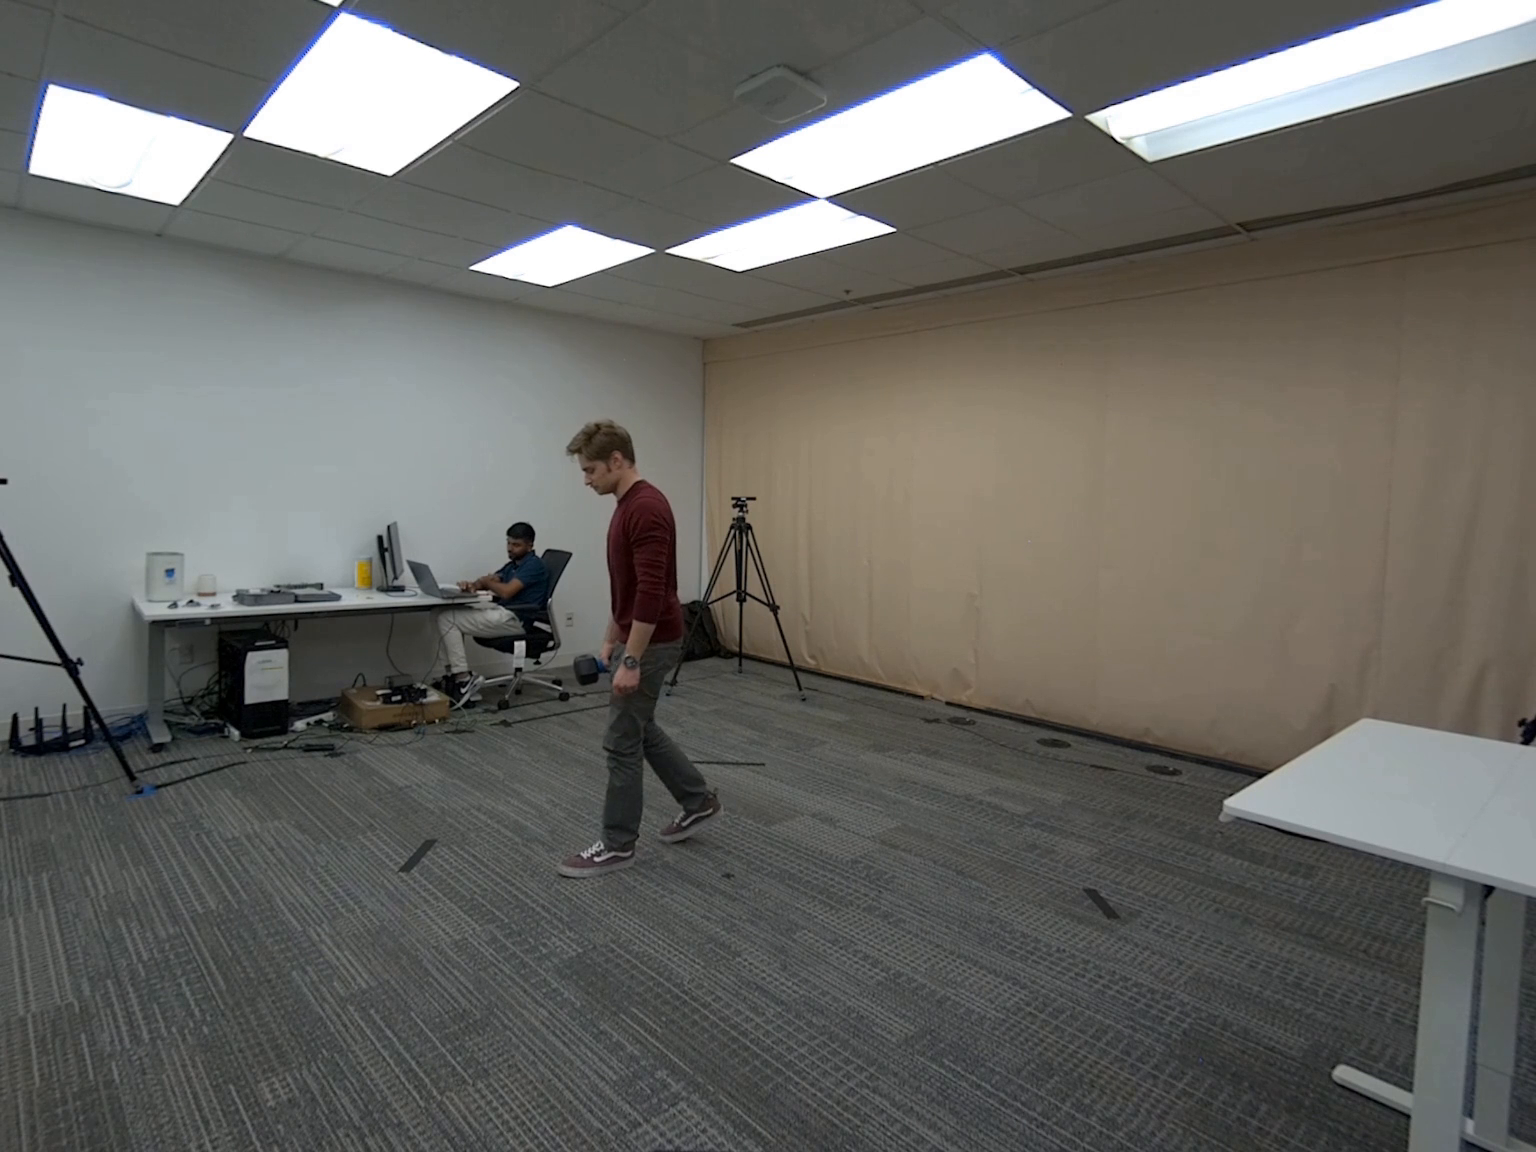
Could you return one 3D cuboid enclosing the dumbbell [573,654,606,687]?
[{"bbox_3d":[-0.645,0.359,3.418,0.289,0.121,0.112,-11,43,-23],"label":"dumbbell"}]
